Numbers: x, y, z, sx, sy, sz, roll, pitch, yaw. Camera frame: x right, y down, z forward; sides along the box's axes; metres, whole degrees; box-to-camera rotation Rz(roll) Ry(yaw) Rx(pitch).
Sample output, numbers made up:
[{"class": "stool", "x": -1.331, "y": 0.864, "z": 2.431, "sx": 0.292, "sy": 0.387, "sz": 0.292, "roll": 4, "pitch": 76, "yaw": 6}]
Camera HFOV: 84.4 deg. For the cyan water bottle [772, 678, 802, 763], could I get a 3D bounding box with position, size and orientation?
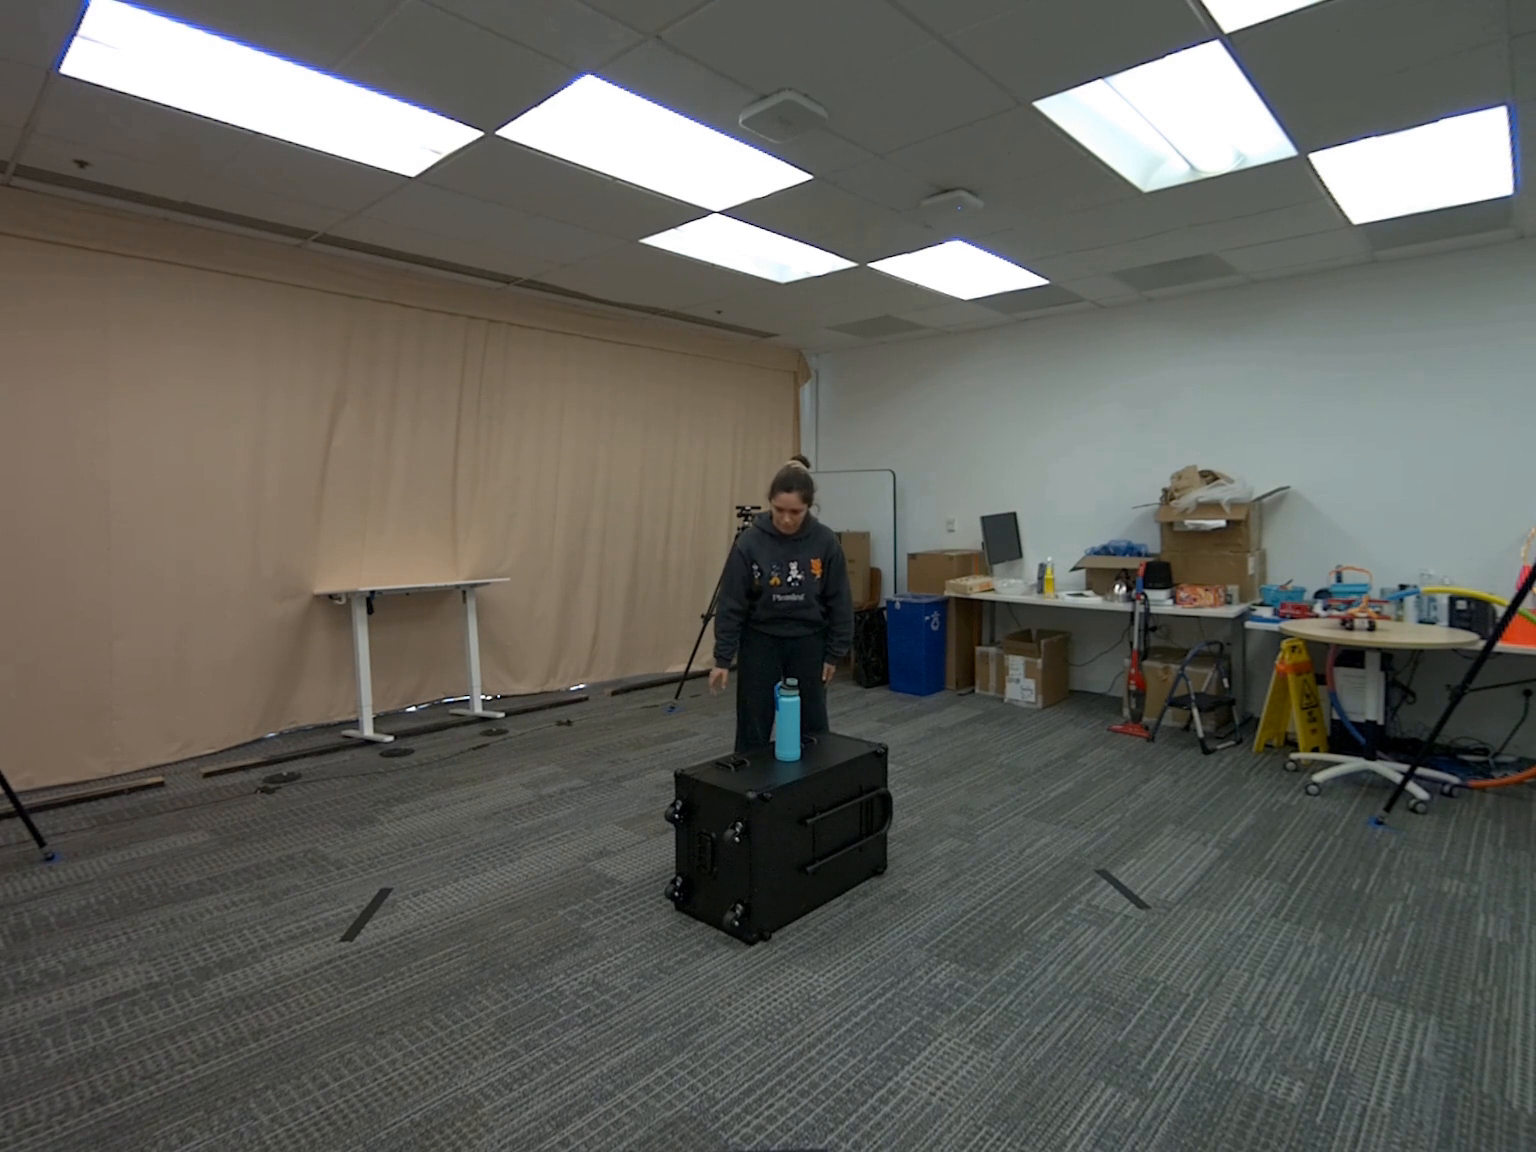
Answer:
[{"class": "cyan water bottle", "x": 0.082, "y": 0.509, "z": 3.036, "sx": 0.092, "sy": 0.283, "sz": 0.092, "roll": -2, "pitch": 3, "yaw": -2}]
